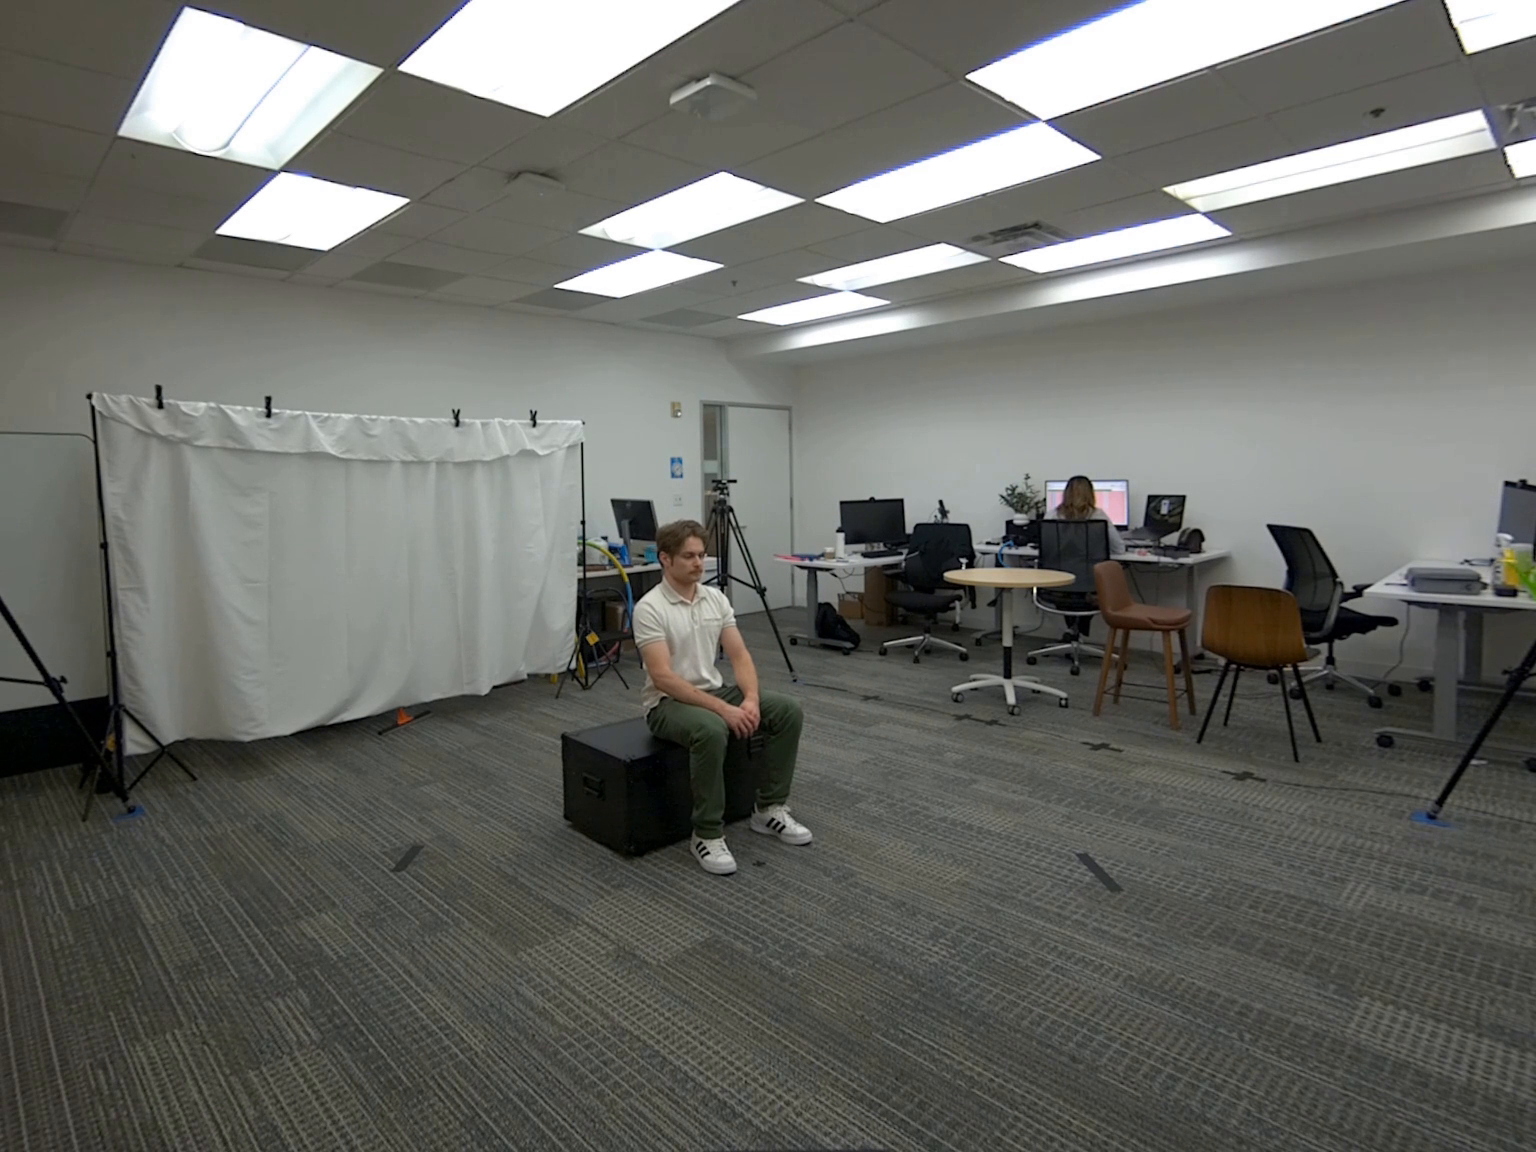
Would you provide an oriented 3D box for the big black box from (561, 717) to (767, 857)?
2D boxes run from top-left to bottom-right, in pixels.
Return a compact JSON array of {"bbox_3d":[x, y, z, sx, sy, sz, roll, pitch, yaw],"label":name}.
[{"bbox_3d":[-0.364,0.810,3.579,0.846,0.384,0.539,-6,6,-41],"label":"big black box"}]
